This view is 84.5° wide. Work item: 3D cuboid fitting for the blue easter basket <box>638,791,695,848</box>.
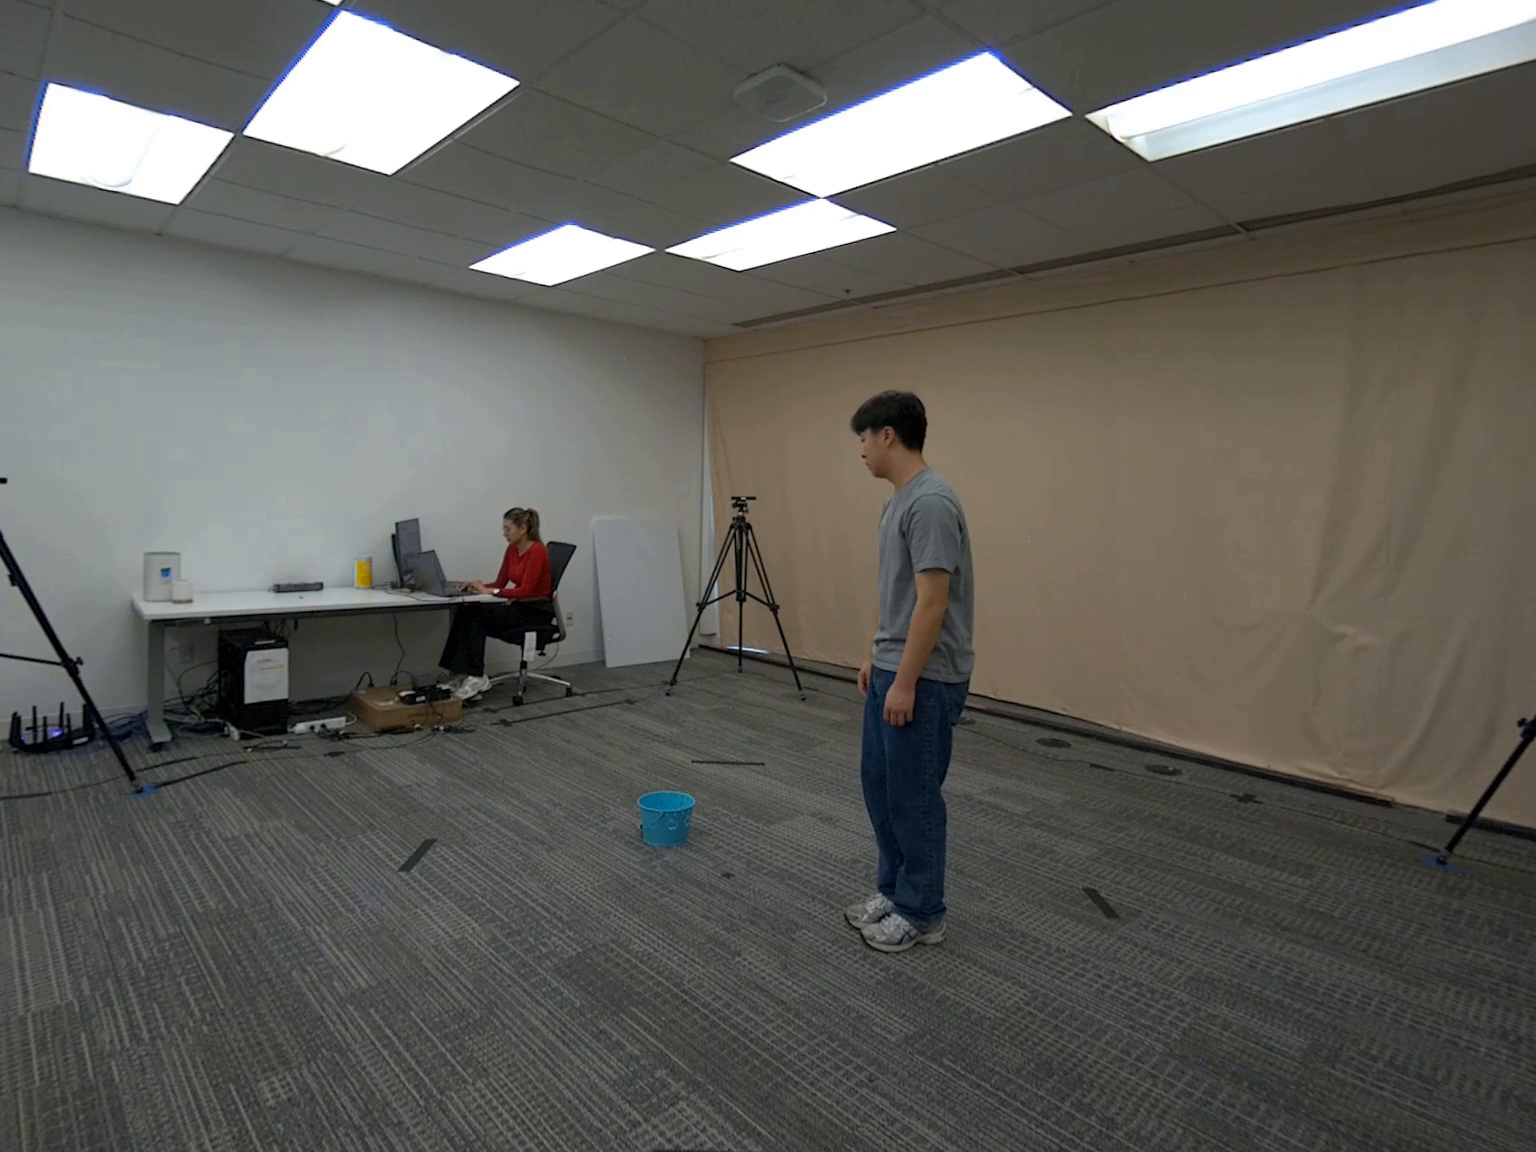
[{"bbox_3d":[-0.427,0.991,3.439,0.243,0.155,0.244,2,5,-2],"label":"blue easter basket"}]
